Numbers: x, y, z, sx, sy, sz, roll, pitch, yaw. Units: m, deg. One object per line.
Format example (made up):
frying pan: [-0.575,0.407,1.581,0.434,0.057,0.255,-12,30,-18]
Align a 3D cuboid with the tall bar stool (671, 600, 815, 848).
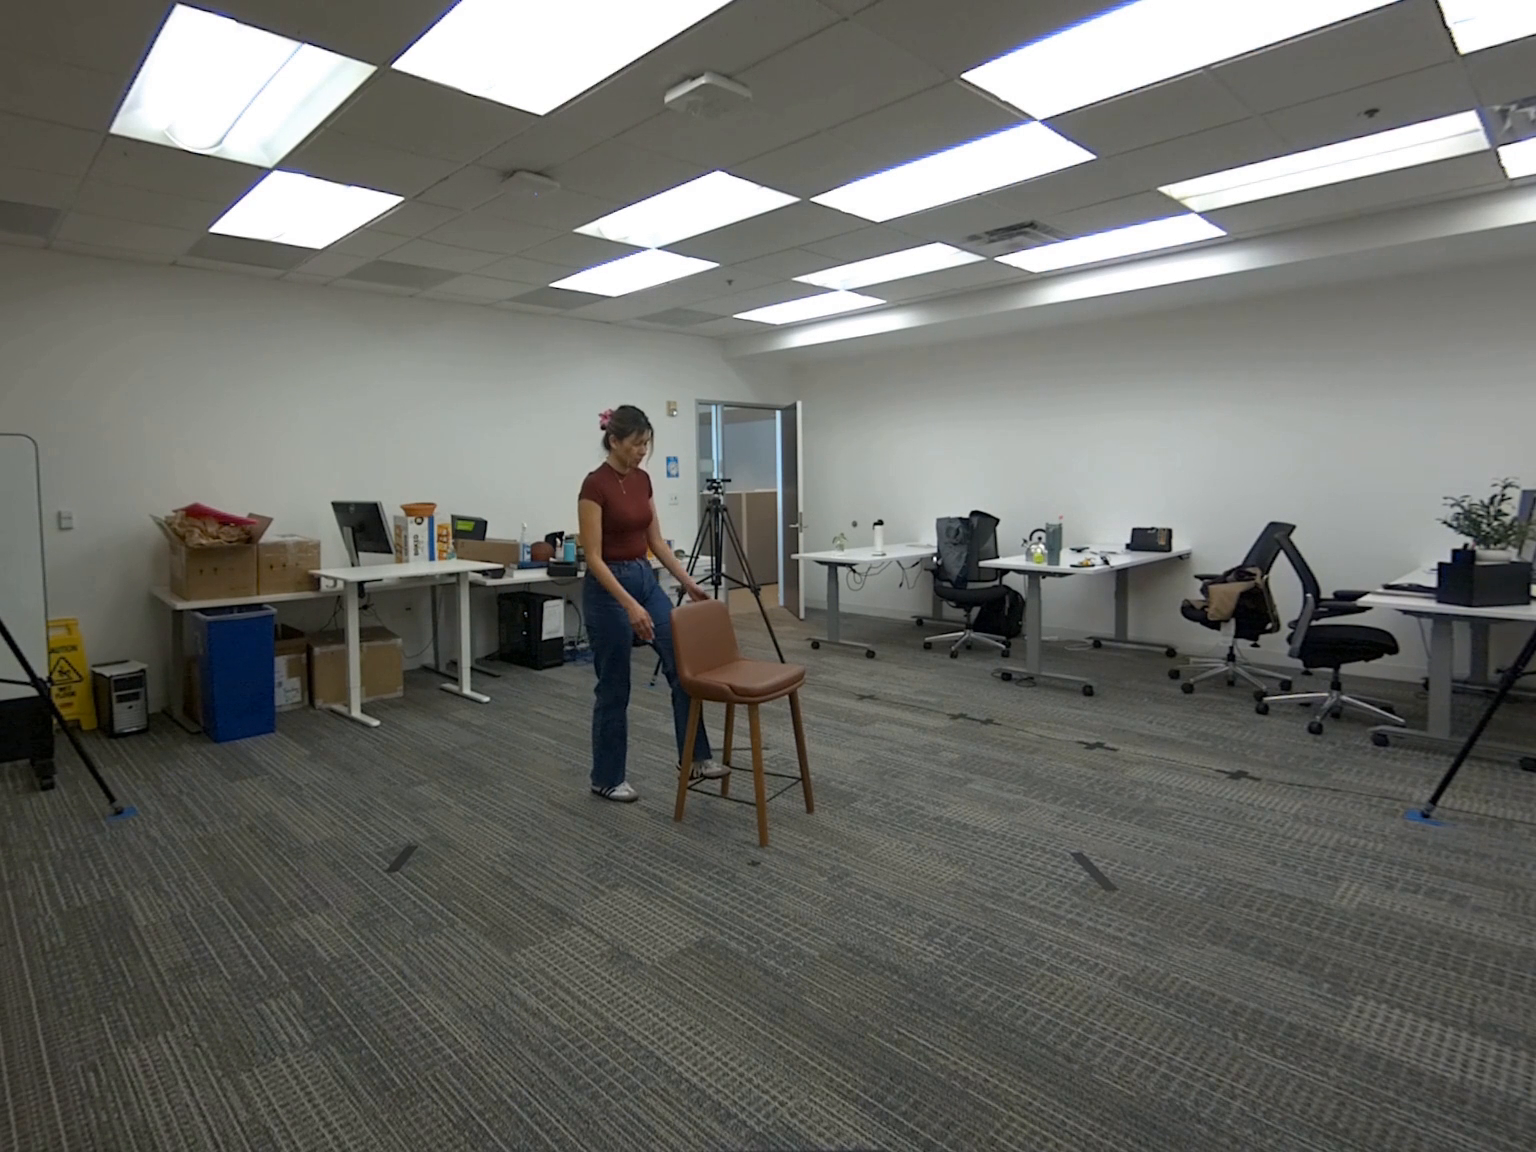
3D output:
tall bar stool: [-0.115,0.562,3.512,0.480,0.888,0.445,-1,3,34]
